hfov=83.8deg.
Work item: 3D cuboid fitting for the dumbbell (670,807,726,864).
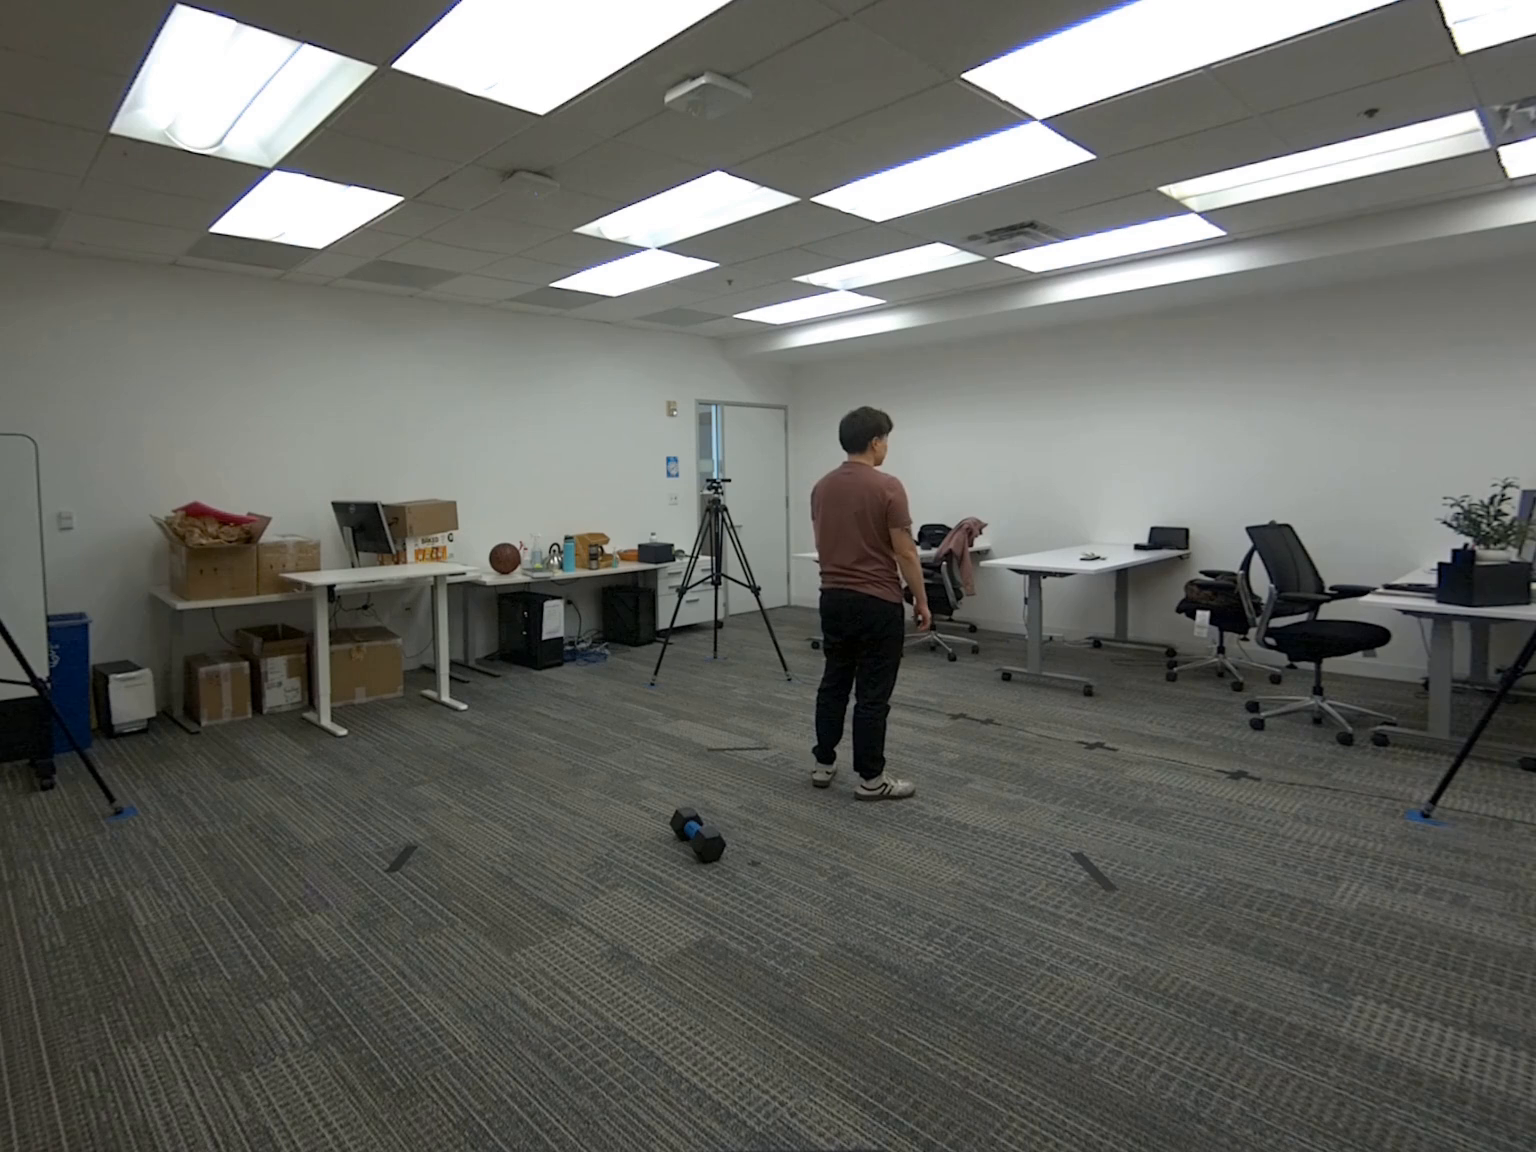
[{"bbox_3d":[-0.266,0.979,3.240,0.108,0.120,0.301,-36,19,-19],"label":"dumbbell"}]
